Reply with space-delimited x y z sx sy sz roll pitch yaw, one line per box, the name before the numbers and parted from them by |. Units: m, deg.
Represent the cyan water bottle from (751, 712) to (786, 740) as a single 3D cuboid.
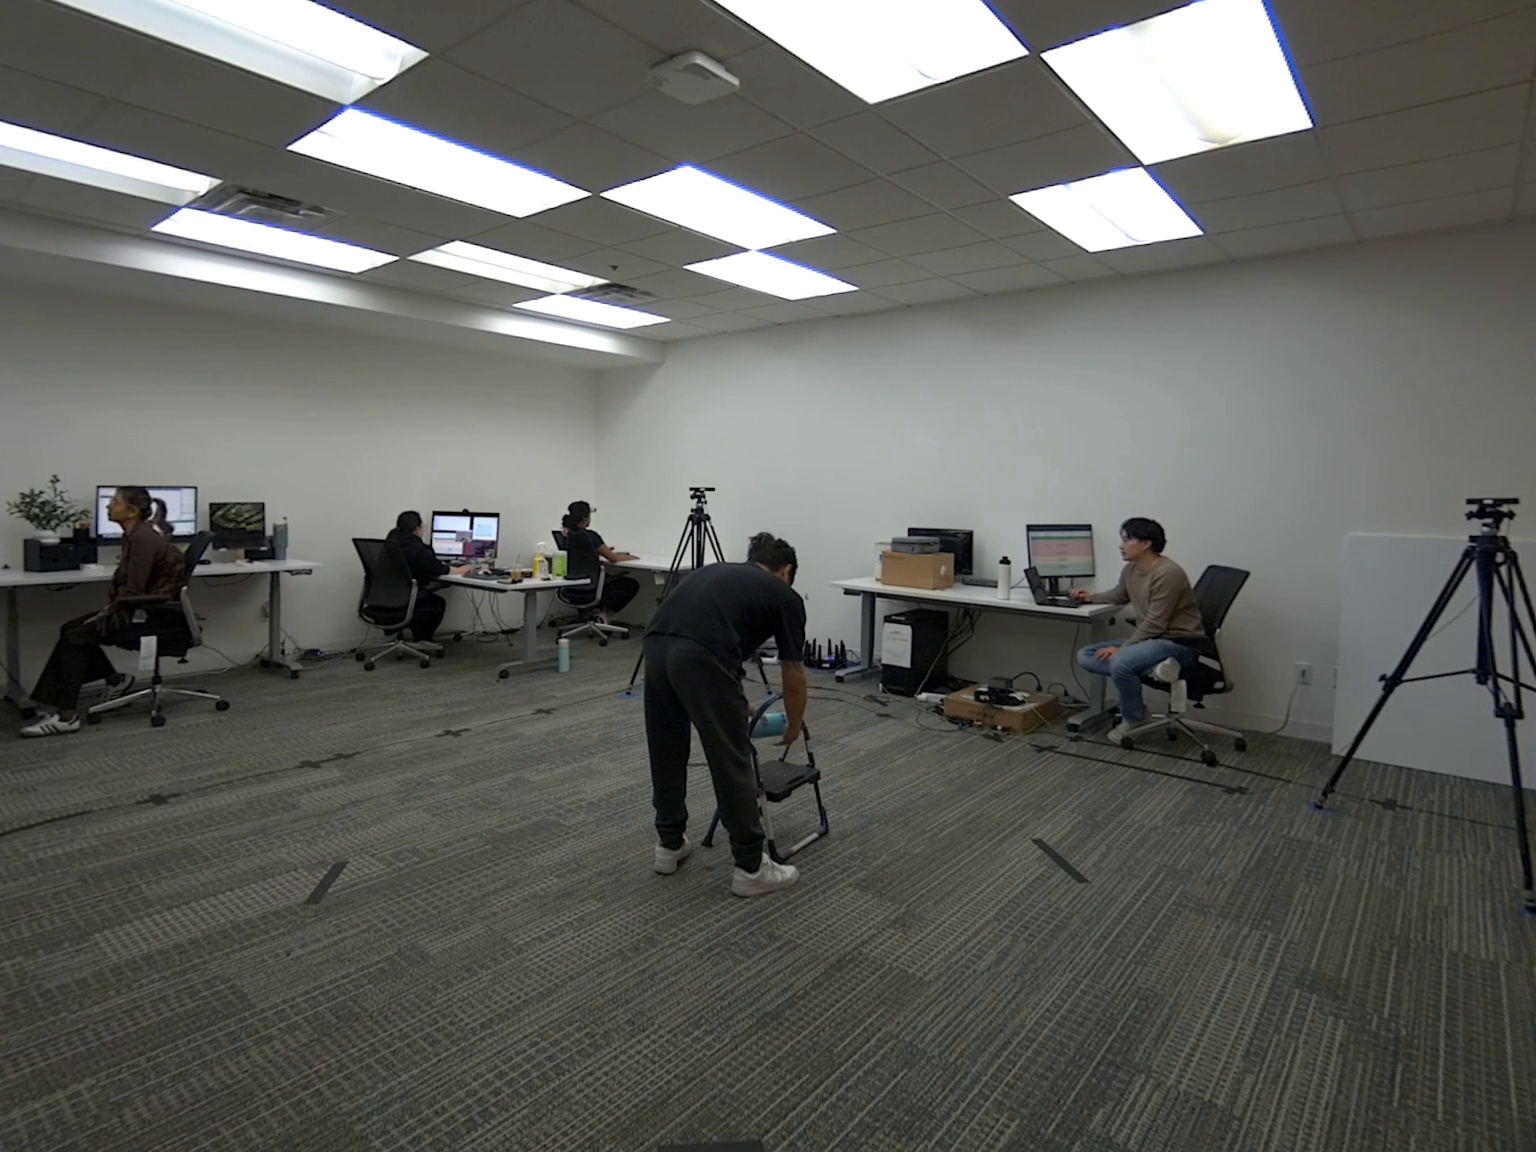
cyan water bottle | 0.000 0.585 3.366 0.278 0.092 0.094 -2 5 -21
